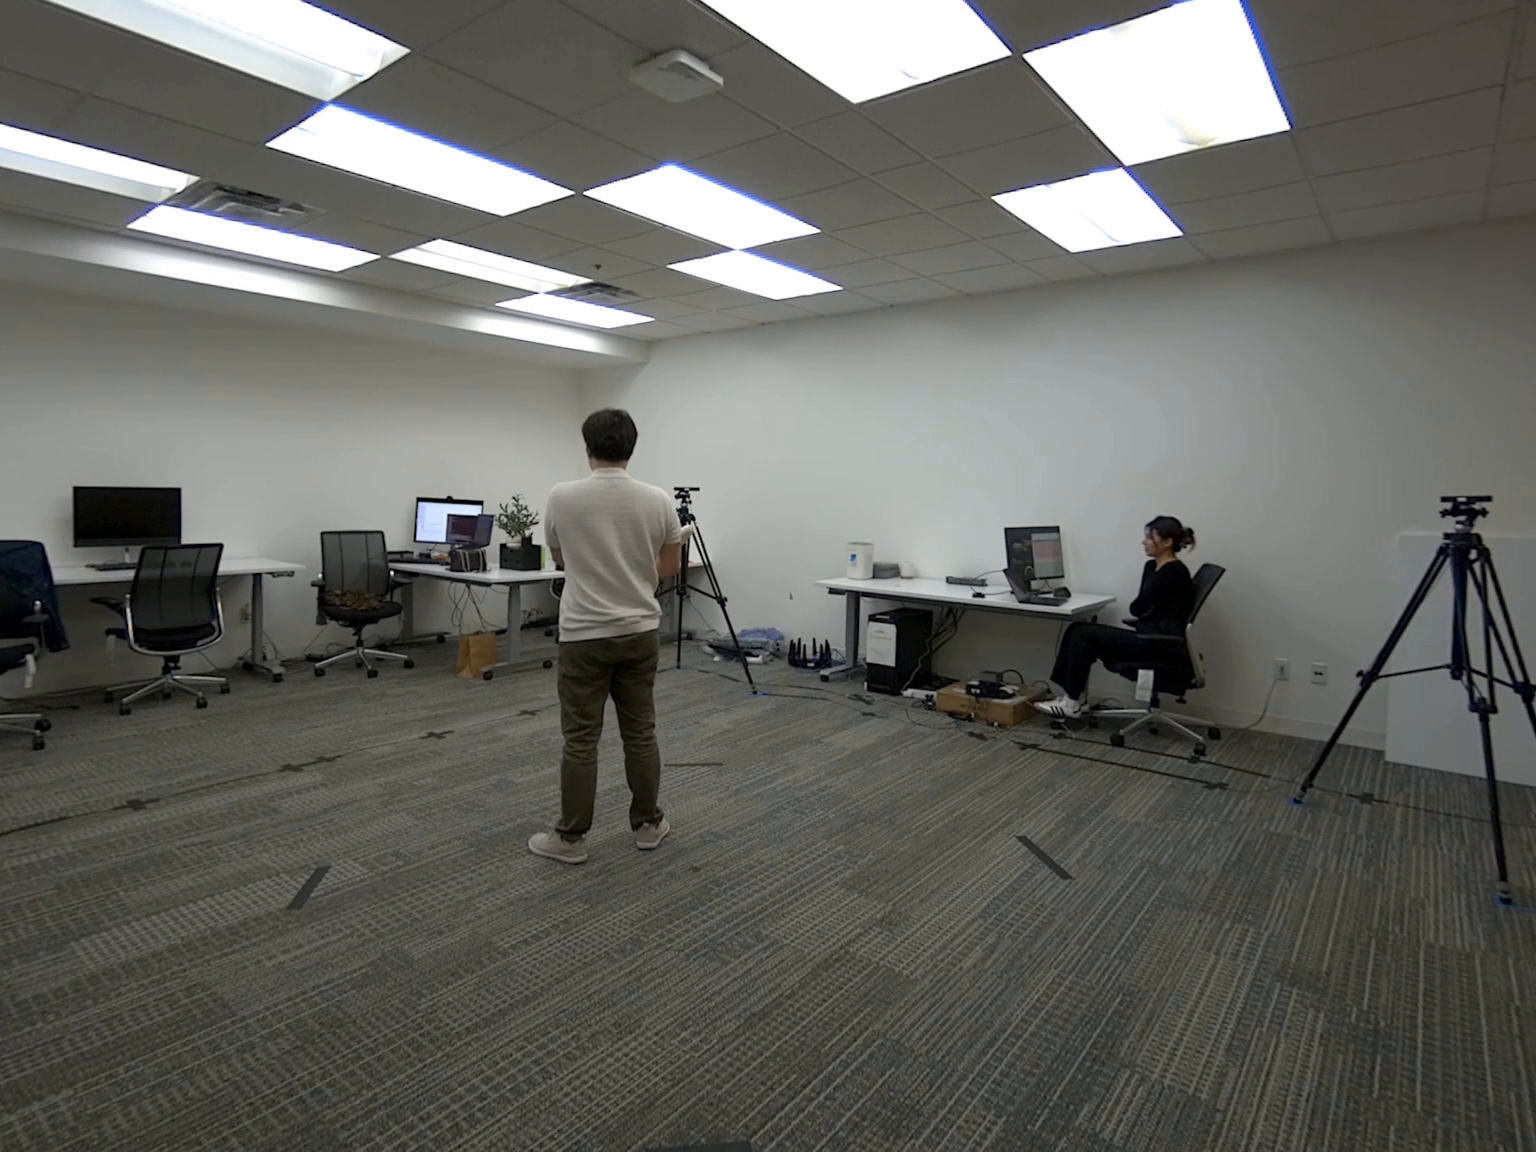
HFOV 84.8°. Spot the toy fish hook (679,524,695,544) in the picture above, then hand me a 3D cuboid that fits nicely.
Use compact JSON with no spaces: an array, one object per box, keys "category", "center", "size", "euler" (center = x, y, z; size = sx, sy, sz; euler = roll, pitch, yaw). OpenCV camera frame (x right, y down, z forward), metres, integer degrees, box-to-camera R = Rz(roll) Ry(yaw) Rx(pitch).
[{"category":"toy fish hook","center":[-0.513,-0.065,3.663],"size":[0.502,0.049,0.222],"euler":[-37,-15,-30]}]
